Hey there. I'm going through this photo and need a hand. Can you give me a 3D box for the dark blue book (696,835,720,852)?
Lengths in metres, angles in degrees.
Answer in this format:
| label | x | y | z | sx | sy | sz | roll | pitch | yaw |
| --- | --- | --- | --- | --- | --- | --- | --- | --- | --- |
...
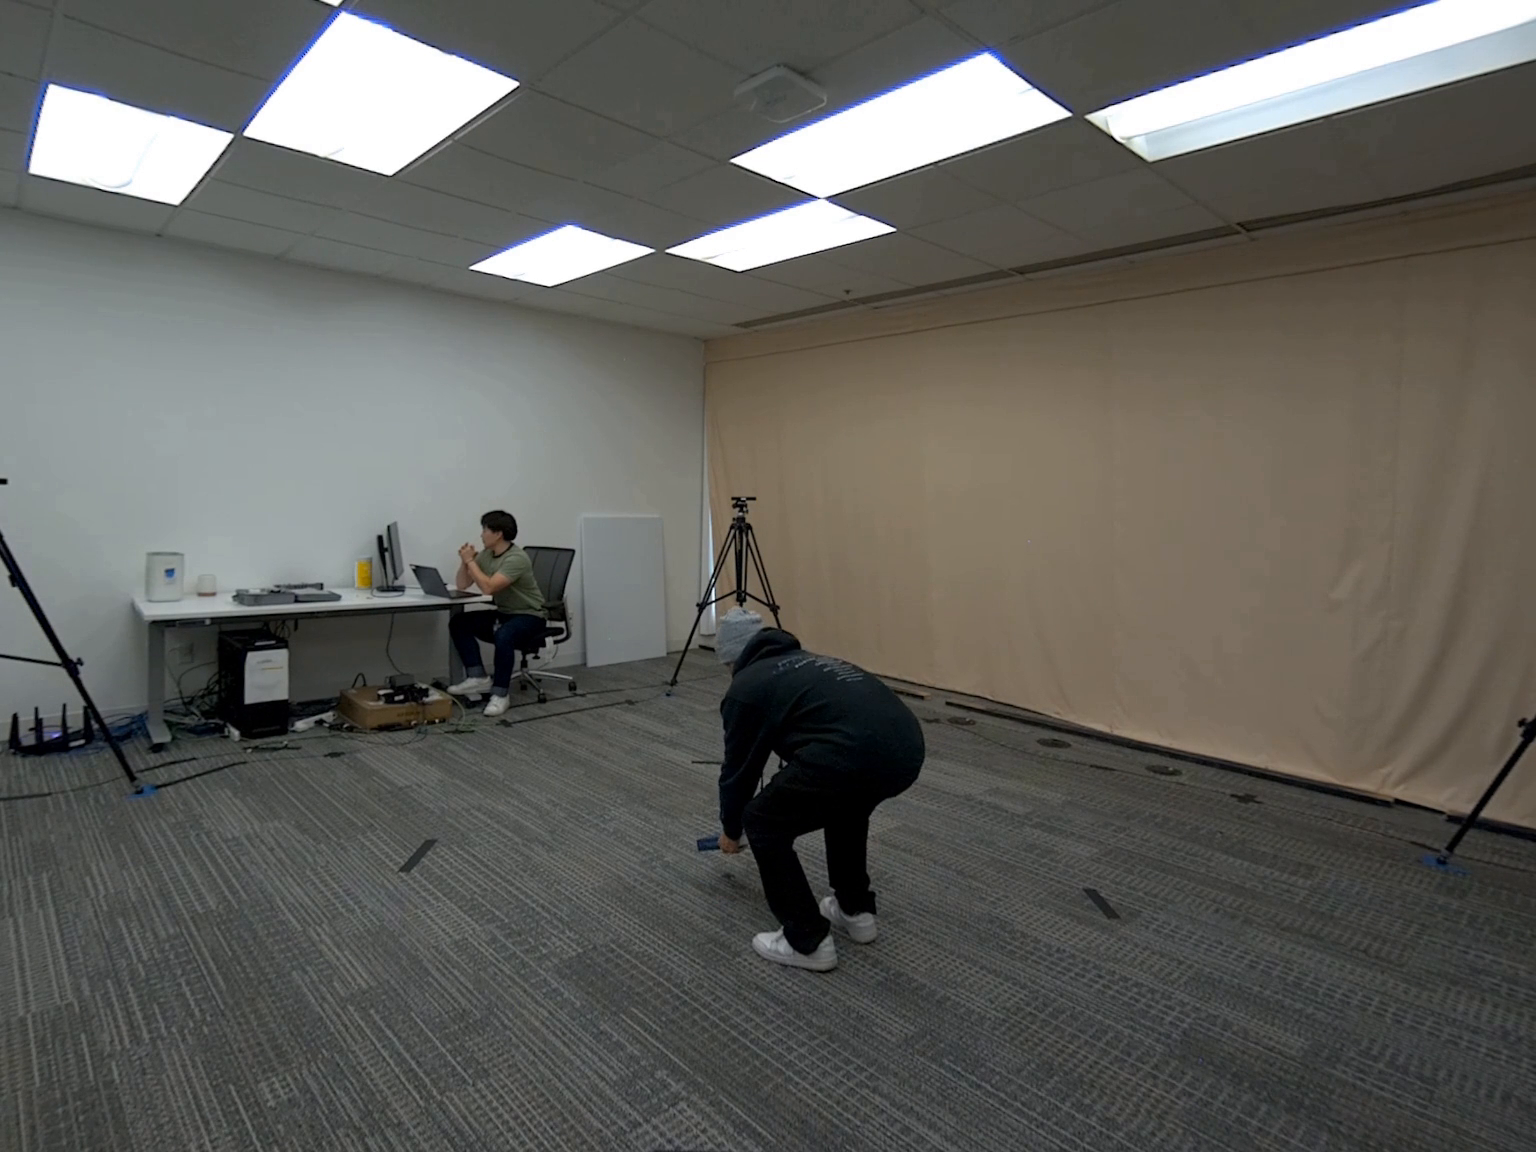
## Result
| label | x | y | z | sx | sy | sz | roll | pitch | yaw |
| --- | --- | --- | --- | --- | --- | --- | --- | --- | --- |
| dark blue book | -0.135 | 0.944 | 3.031 | 0.160 | 0.045 | 0.248 | -2 | -13 | -36 |
